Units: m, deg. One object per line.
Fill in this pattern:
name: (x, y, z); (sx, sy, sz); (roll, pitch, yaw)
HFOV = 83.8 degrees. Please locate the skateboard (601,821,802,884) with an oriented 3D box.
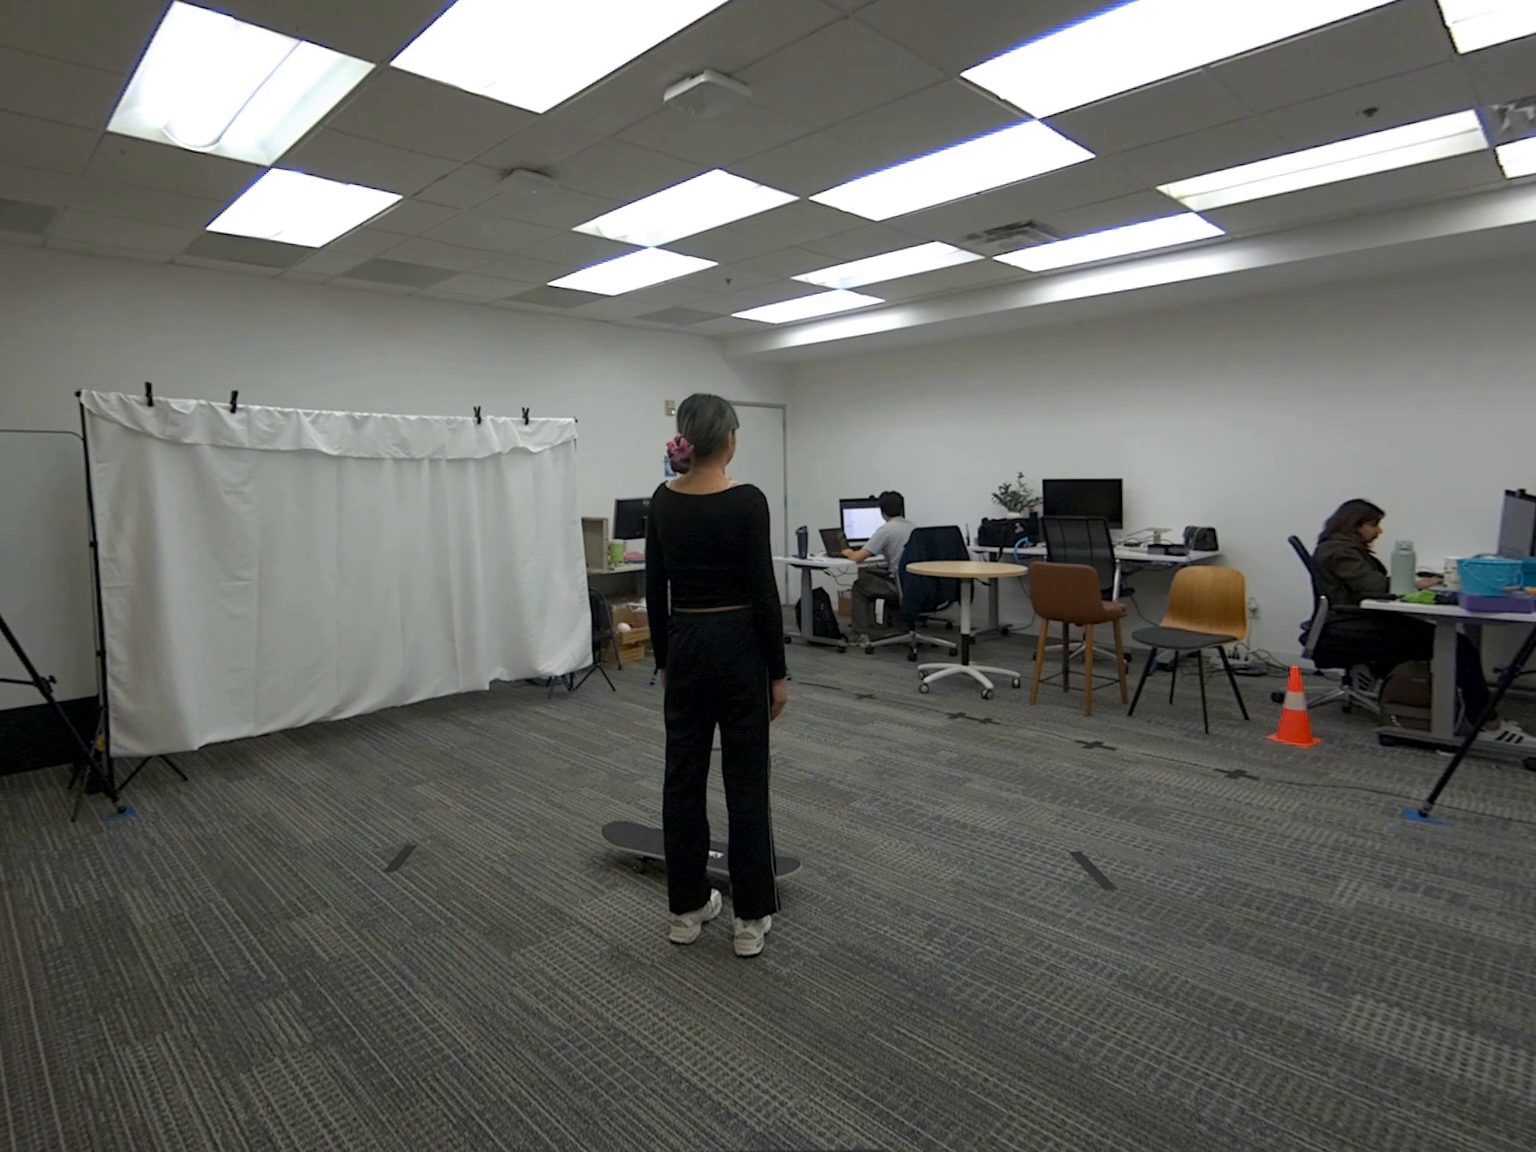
skateboard: (-0.245, 0.998, 3.012); (0.805, 0.110, 0.190); (2, 7, 28)
